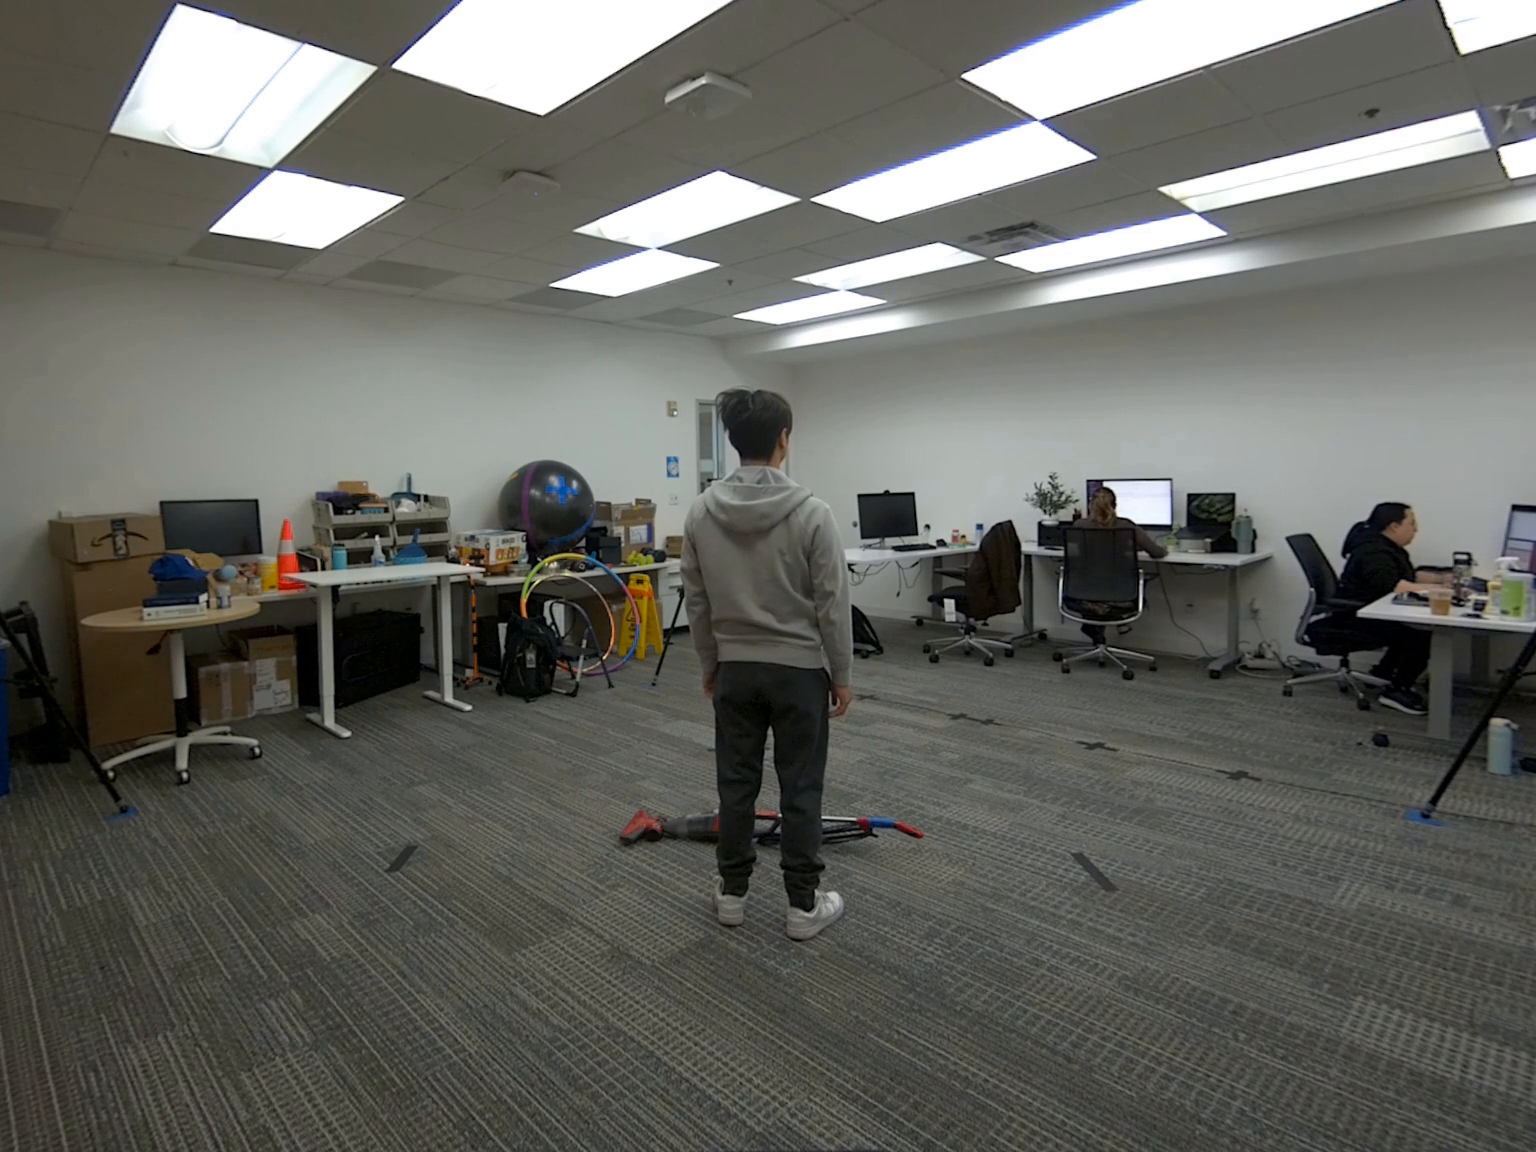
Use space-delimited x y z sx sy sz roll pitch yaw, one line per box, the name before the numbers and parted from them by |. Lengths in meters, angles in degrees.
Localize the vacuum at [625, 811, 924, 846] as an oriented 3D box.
vacuum | 0.033 0.963 3.260 1.060 0.143 0.251 -2 6 10
